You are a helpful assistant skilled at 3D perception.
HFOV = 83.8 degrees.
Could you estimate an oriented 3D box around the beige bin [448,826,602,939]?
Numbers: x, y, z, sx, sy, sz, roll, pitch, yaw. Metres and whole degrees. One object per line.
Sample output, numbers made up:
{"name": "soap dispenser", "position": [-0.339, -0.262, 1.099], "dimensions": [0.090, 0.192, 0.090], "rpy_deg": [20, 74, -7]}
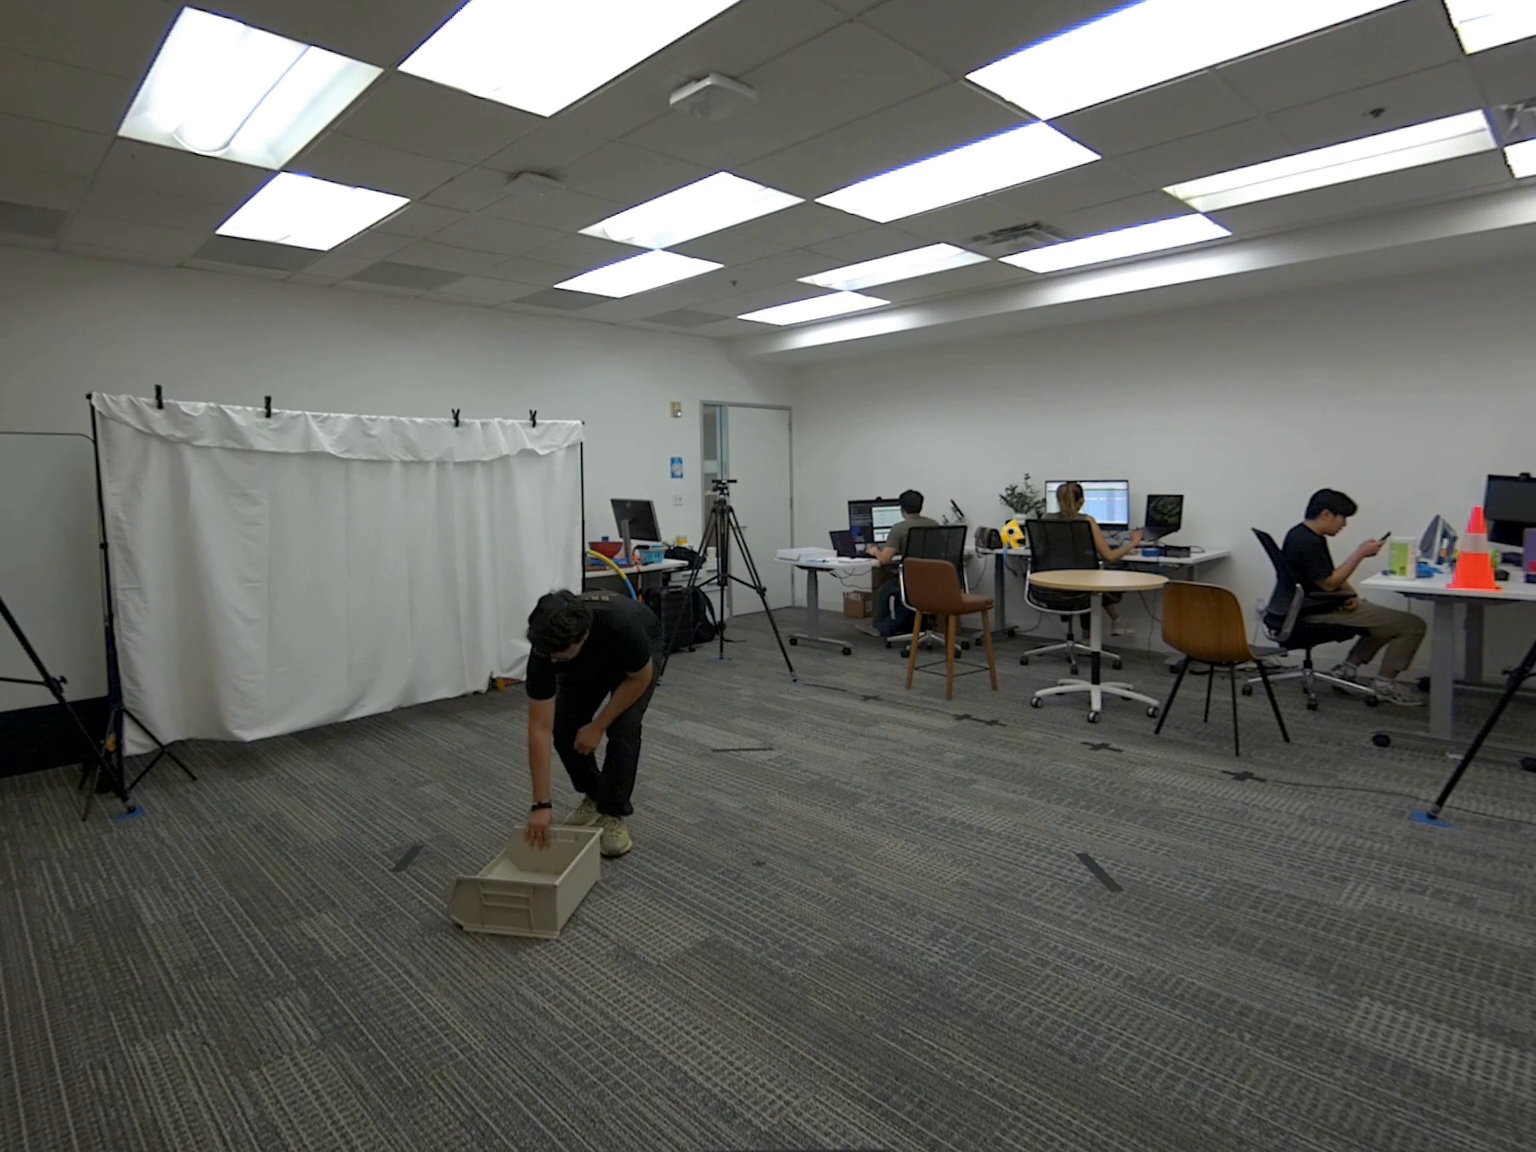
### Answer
{"name": "beige bin", "position": [-0.798, 1.001, 2.855], "dimensions": [0.382, 0.188, 0.419], "rpy_deg": [2, 6, 10]}
